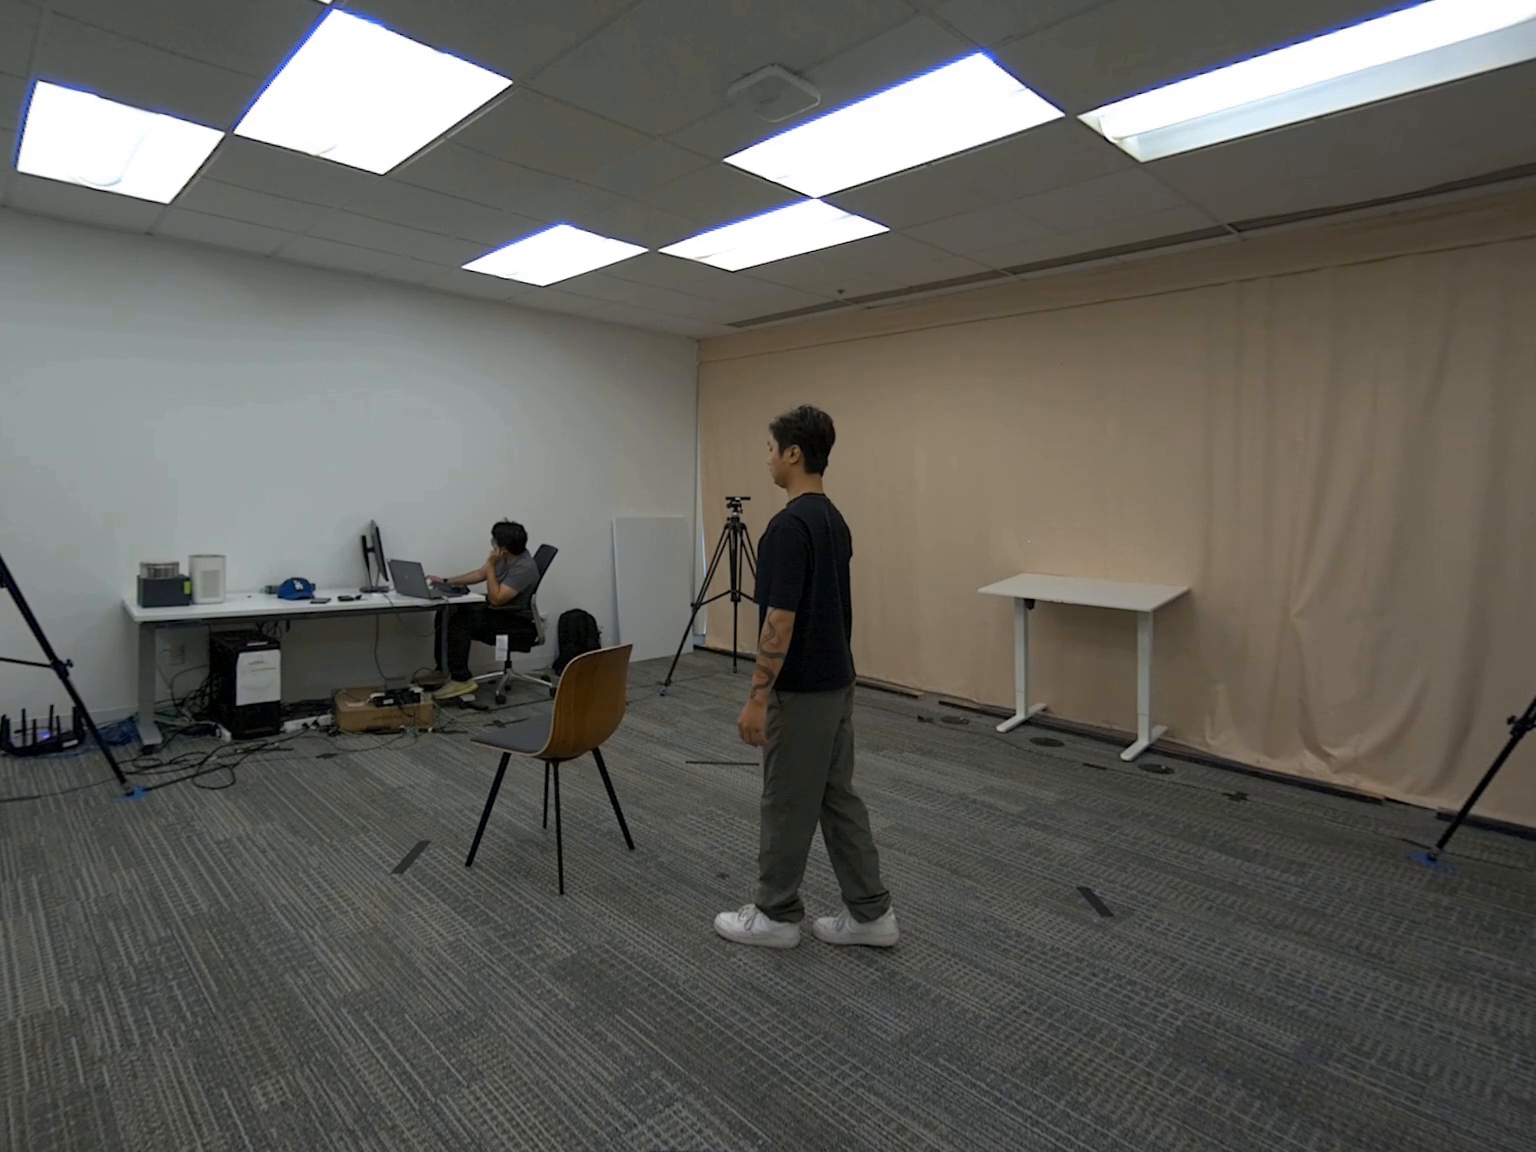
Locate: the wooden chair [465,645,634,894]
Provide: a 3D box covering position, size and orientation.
[{"bbox_3d":[-0.827,0.653,3.195,0.534,0.874,0.469,8,6,27],"label":"wooden chair"}]
